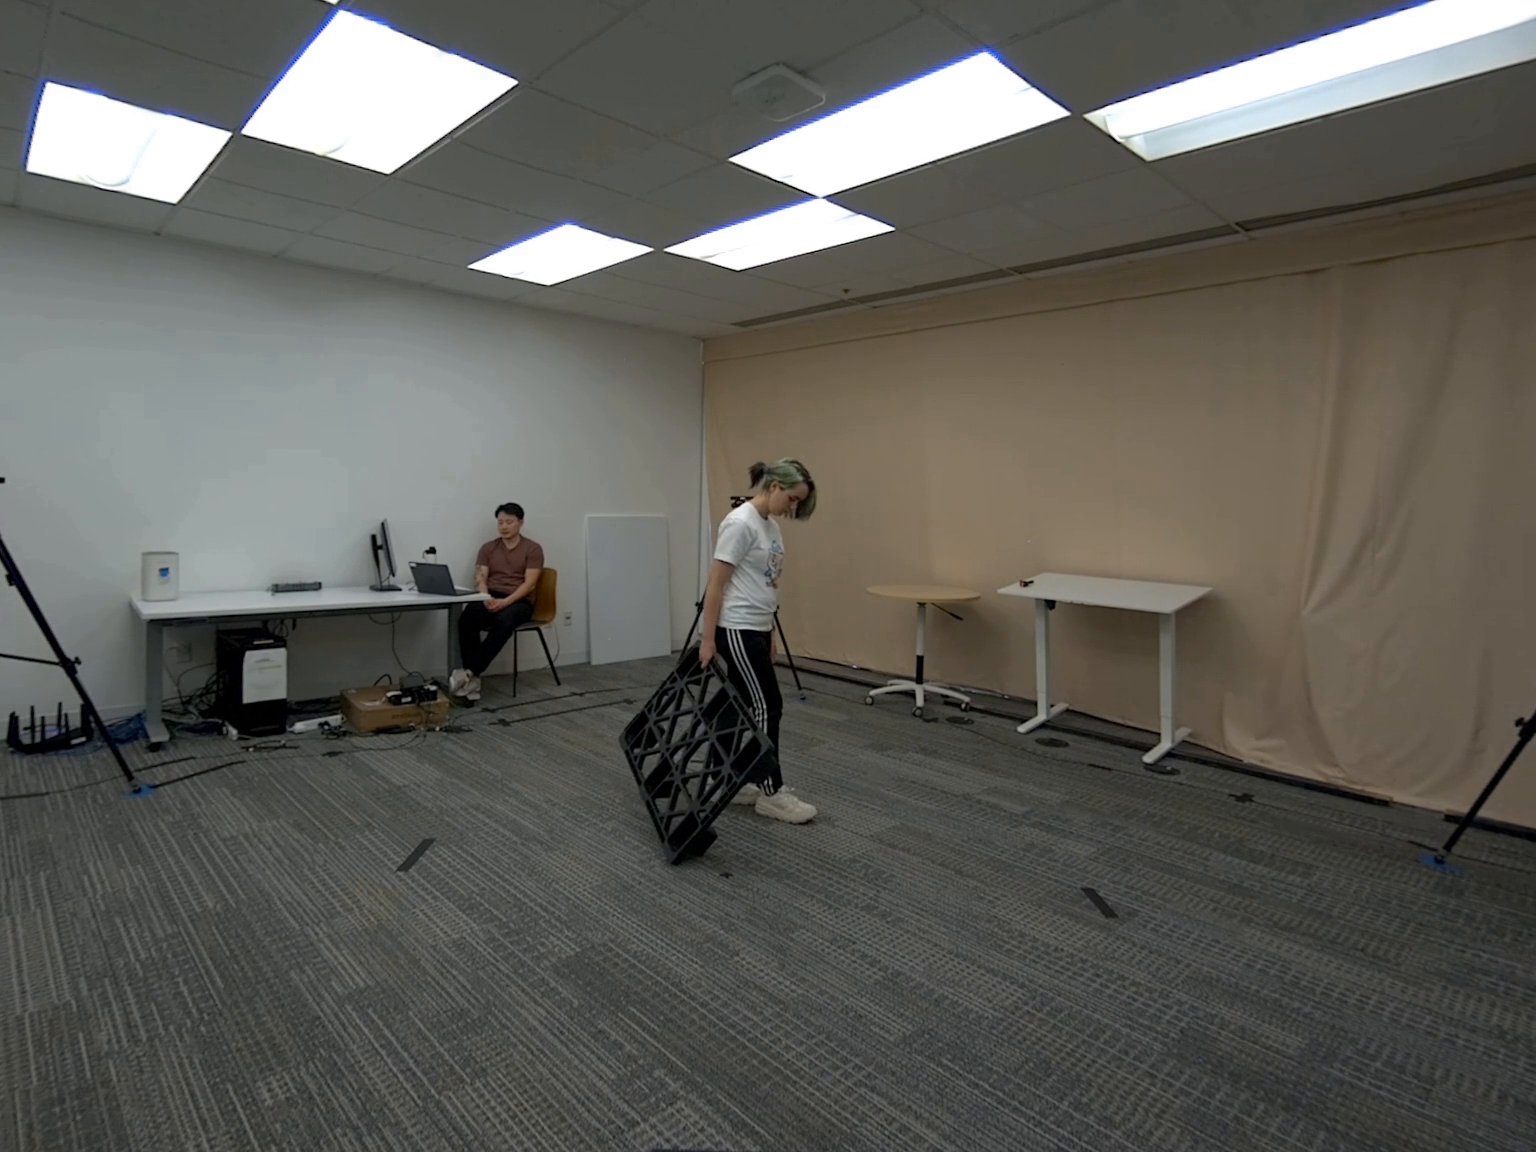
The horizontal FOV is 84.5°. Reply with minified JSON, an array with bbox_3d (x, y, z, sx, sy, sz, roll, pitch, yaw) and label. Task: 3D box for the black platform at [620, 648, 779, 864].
[{"bbox_3d":[-0.309,0.712,3.492,0.139,0.604,0.830,33,8,-34],"label":"black platform"}]
